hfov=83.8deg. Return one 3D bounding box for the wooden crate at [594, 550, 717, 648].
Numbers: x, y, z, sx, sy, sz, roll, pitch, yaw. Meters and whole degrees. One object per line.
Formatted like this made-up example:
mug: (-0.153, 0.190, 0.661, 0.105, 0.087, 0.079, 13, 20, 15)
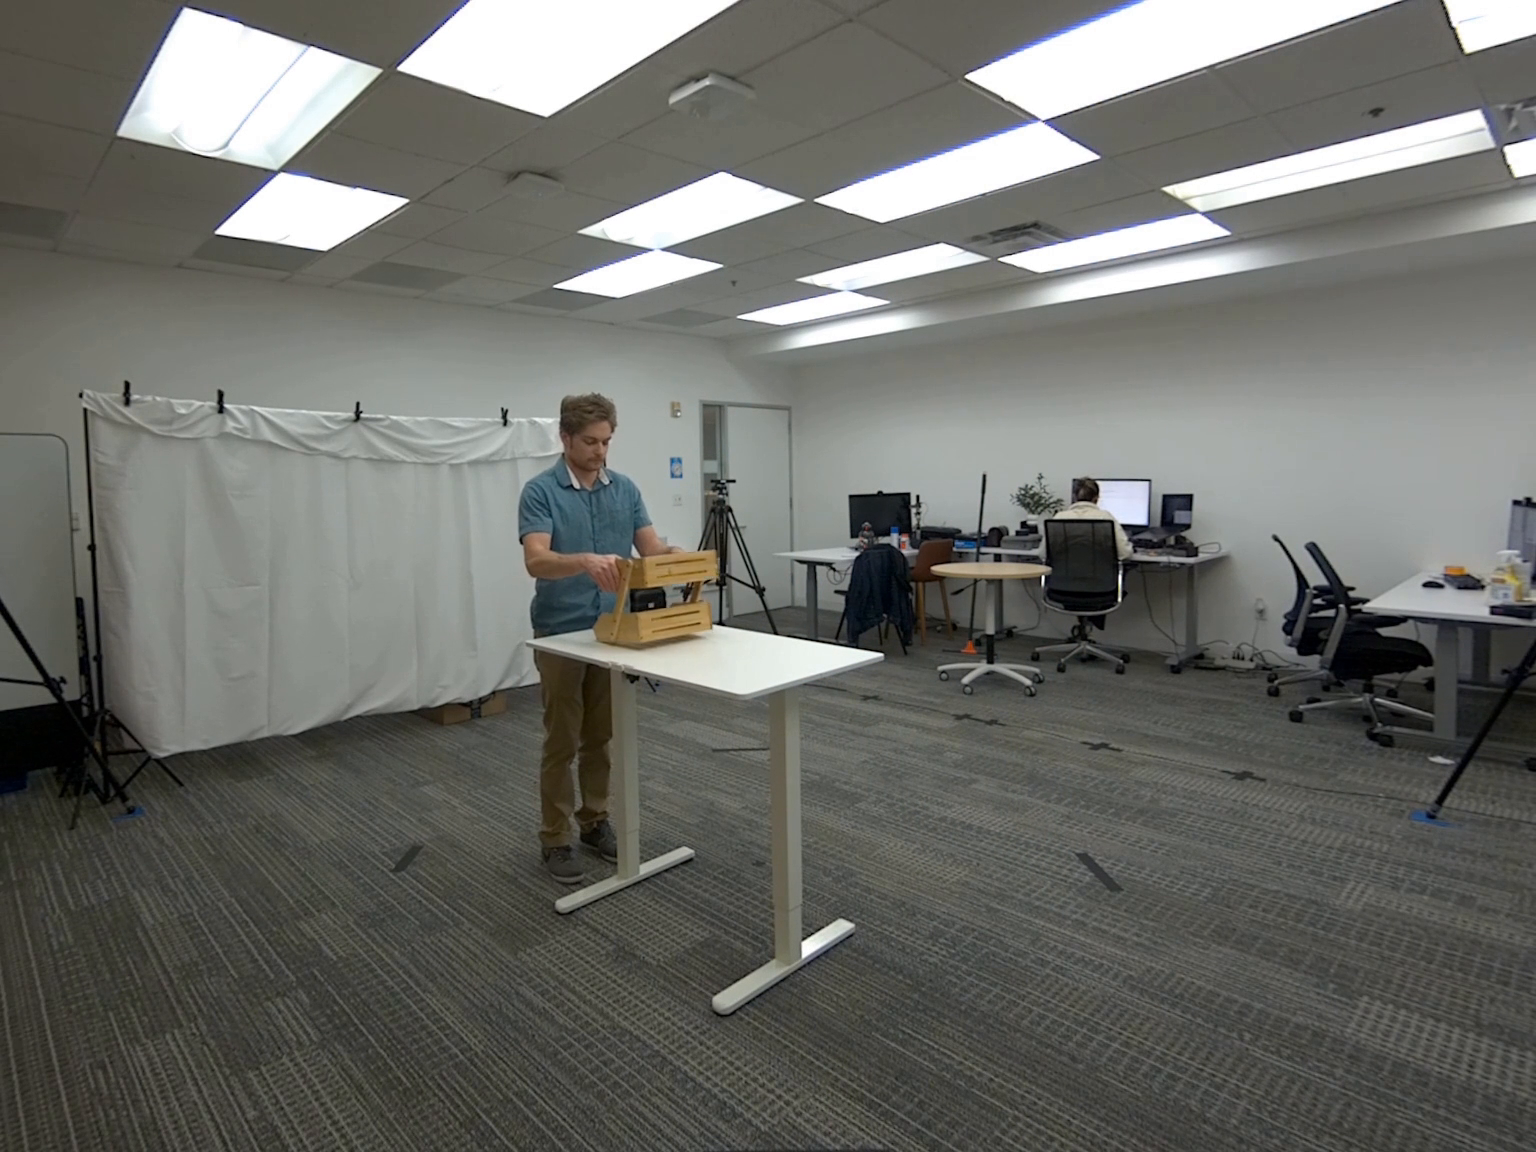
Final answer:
wooden crate: (-0.365, 0.065, 2.768, 0.316, 0.273, 0.310, -7, 3, -44)
